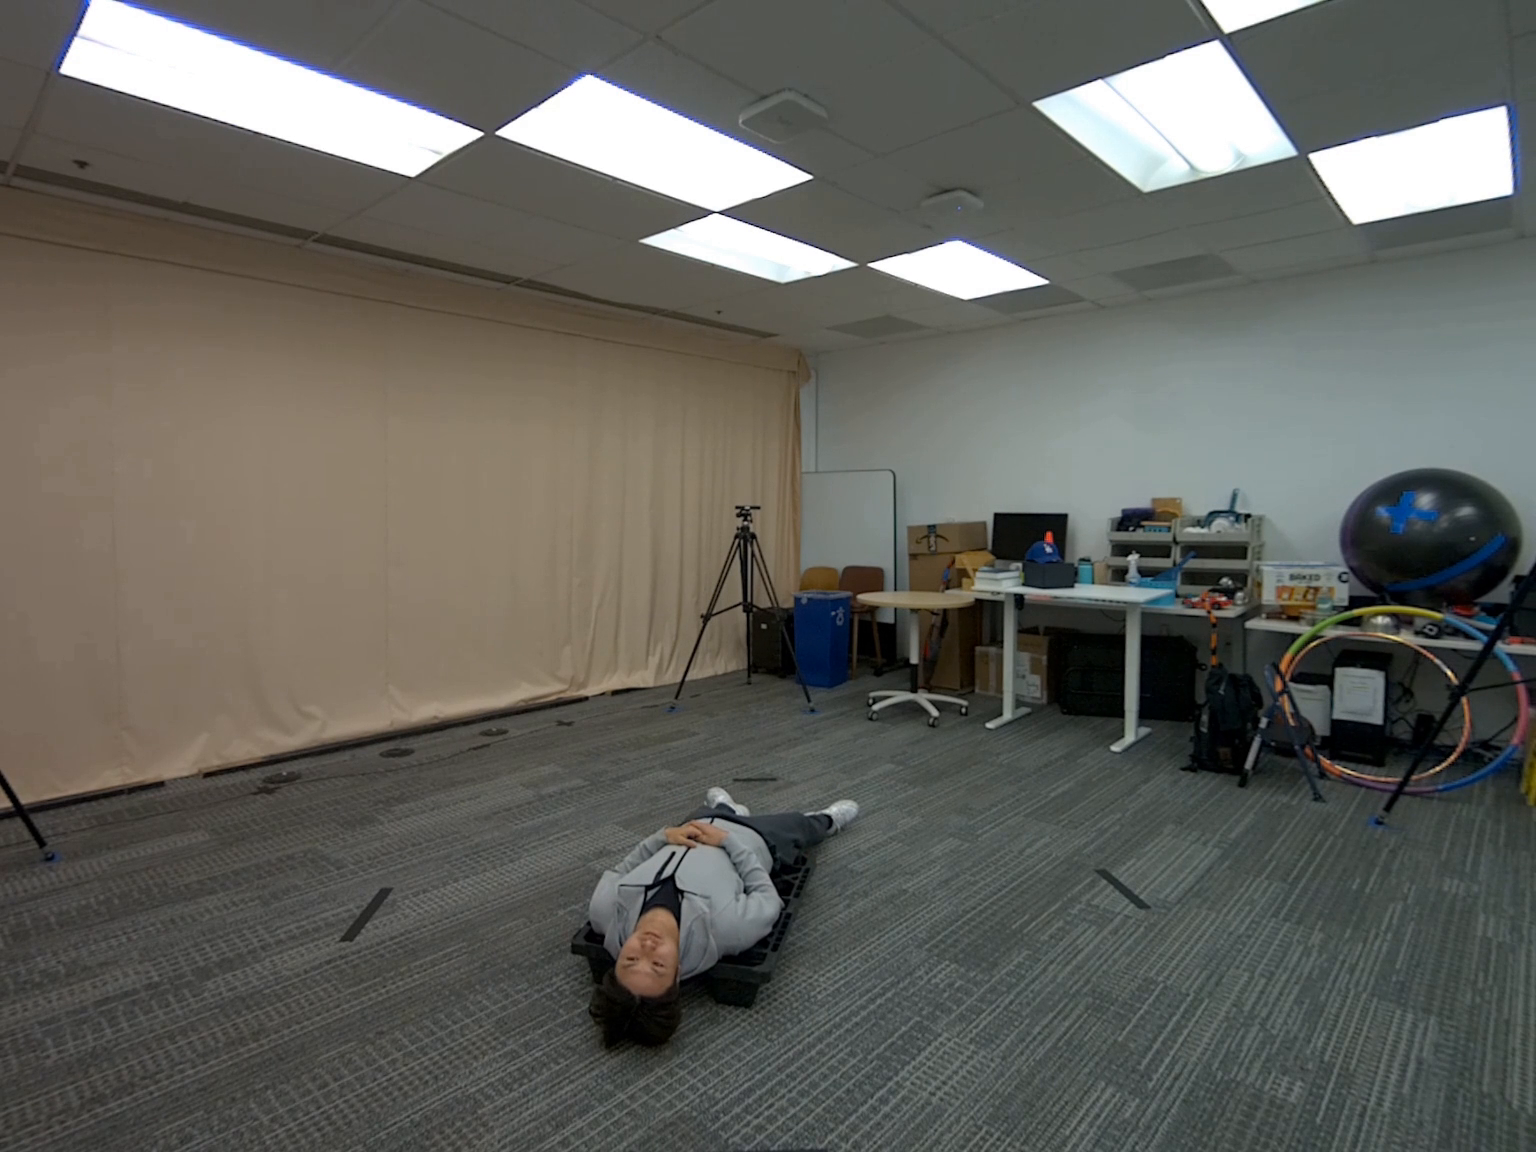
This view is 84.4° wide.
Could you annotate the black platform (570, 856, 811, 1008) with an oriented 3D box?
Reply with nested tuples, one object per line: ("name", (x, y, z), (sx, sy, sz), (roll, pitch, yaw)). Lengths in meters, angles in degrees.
("black platform", (-0.199, 1.097, 2.740), (0.615, 0.143, 0.795), (2, 7, 14))
